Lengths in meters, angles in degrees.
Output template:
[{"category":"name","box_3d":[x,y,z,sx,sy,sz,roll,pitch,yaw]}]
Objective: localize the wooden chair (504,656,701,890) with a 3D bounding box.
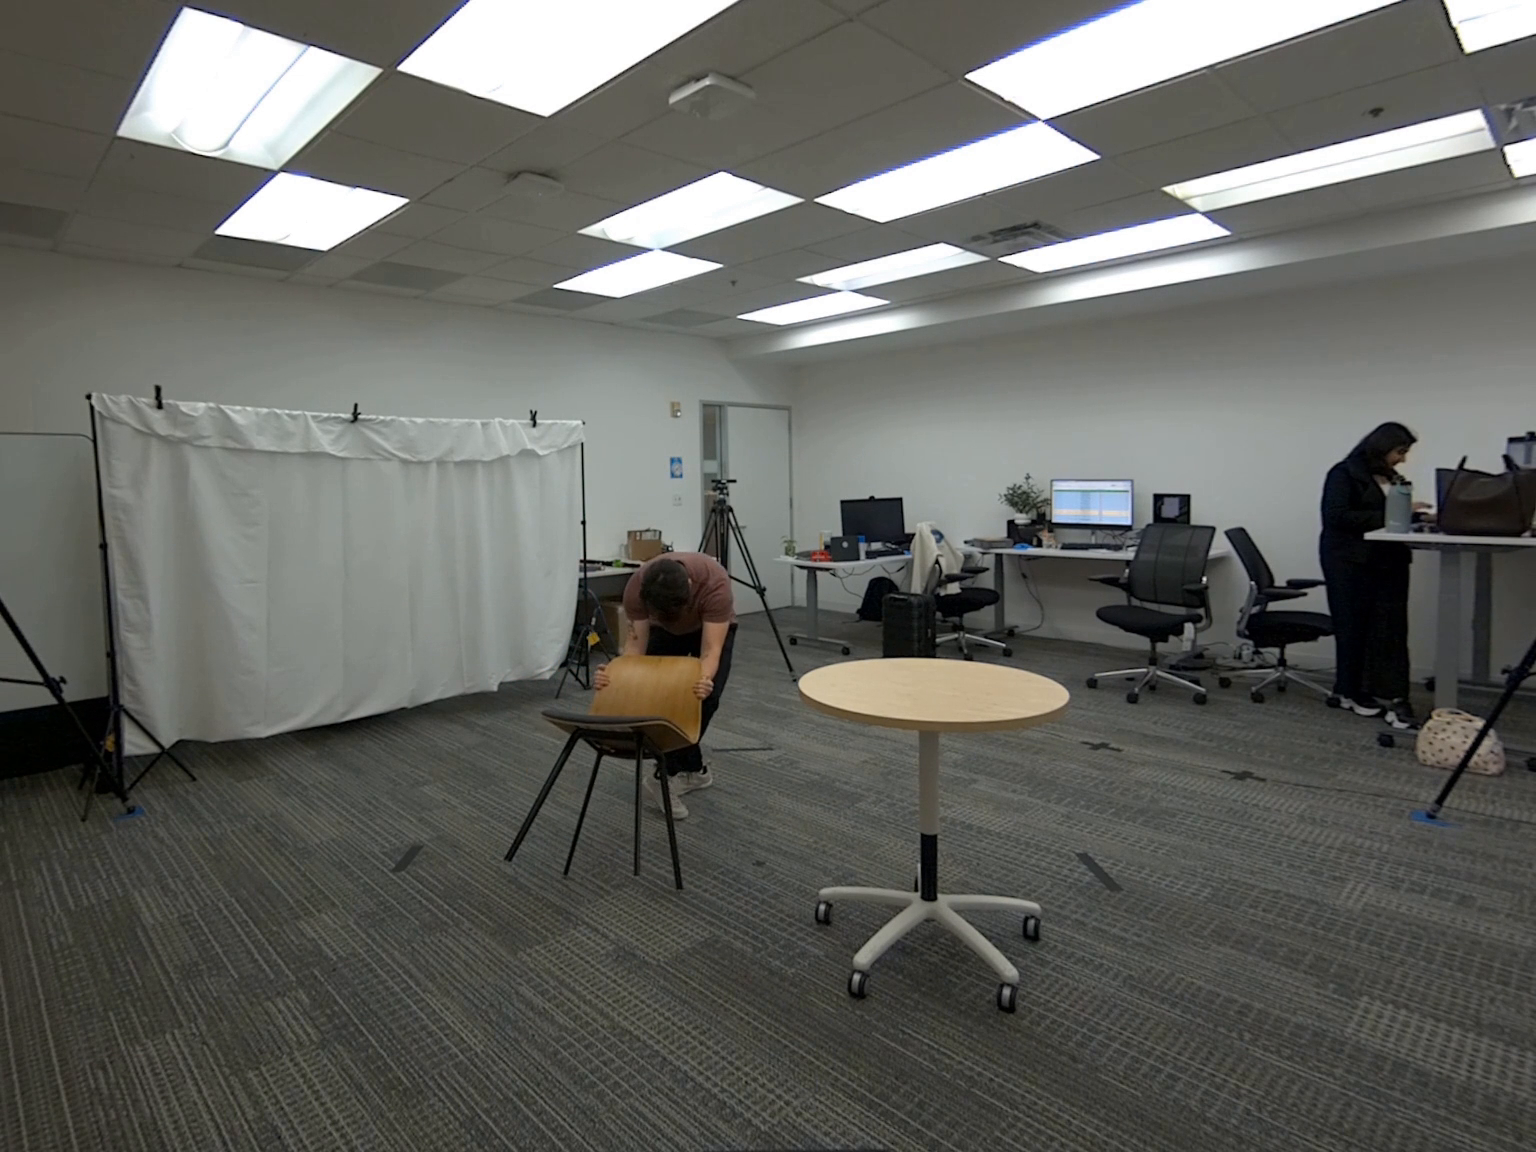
[{"category":"wooden chair","box_3d":[-0.527,0.595,2.951,0.485,0.894,0.505,-1,-29,15]}]
